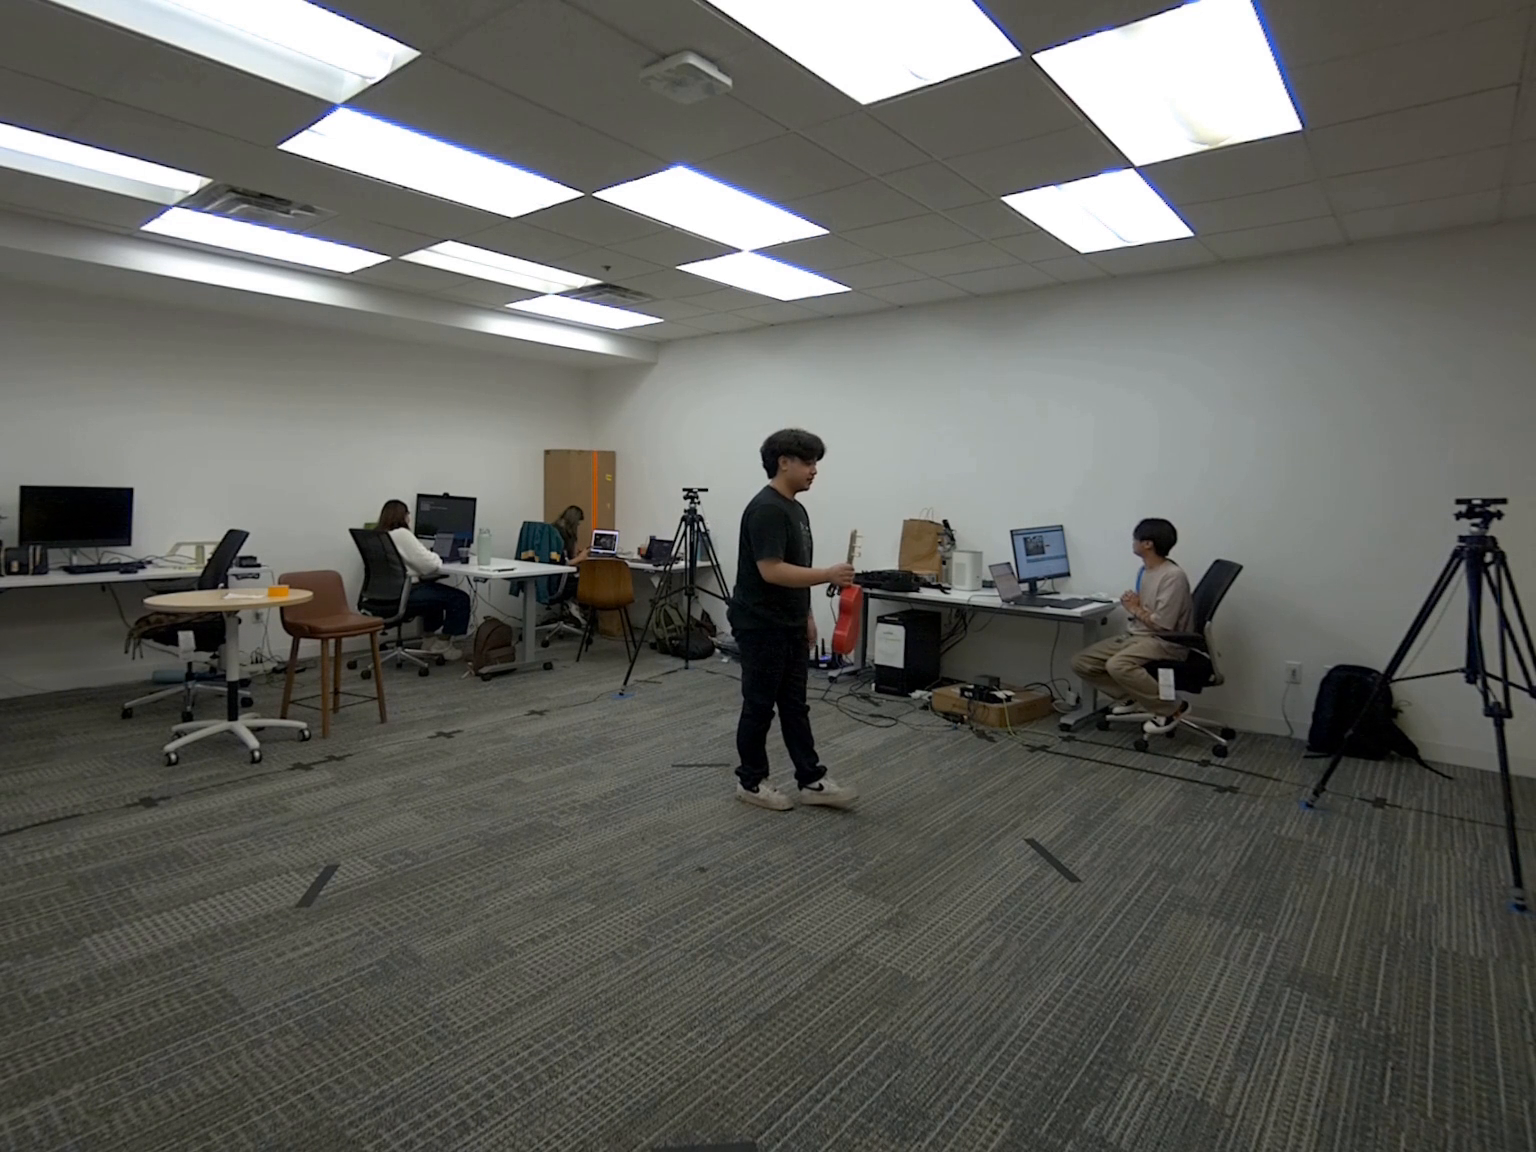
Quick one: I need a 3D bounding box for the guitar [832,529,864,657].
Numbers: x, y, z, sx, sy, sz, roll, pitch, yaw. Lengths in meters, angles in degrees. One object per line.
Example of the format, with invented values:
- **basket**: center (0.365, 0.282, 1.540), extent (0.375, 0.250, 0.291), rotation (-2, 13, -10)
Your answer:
- **guitar**: center (0.321, 0.064, 3.391), extent (0.072, 0.491, 0.191), rotation (9, 17, 18)
